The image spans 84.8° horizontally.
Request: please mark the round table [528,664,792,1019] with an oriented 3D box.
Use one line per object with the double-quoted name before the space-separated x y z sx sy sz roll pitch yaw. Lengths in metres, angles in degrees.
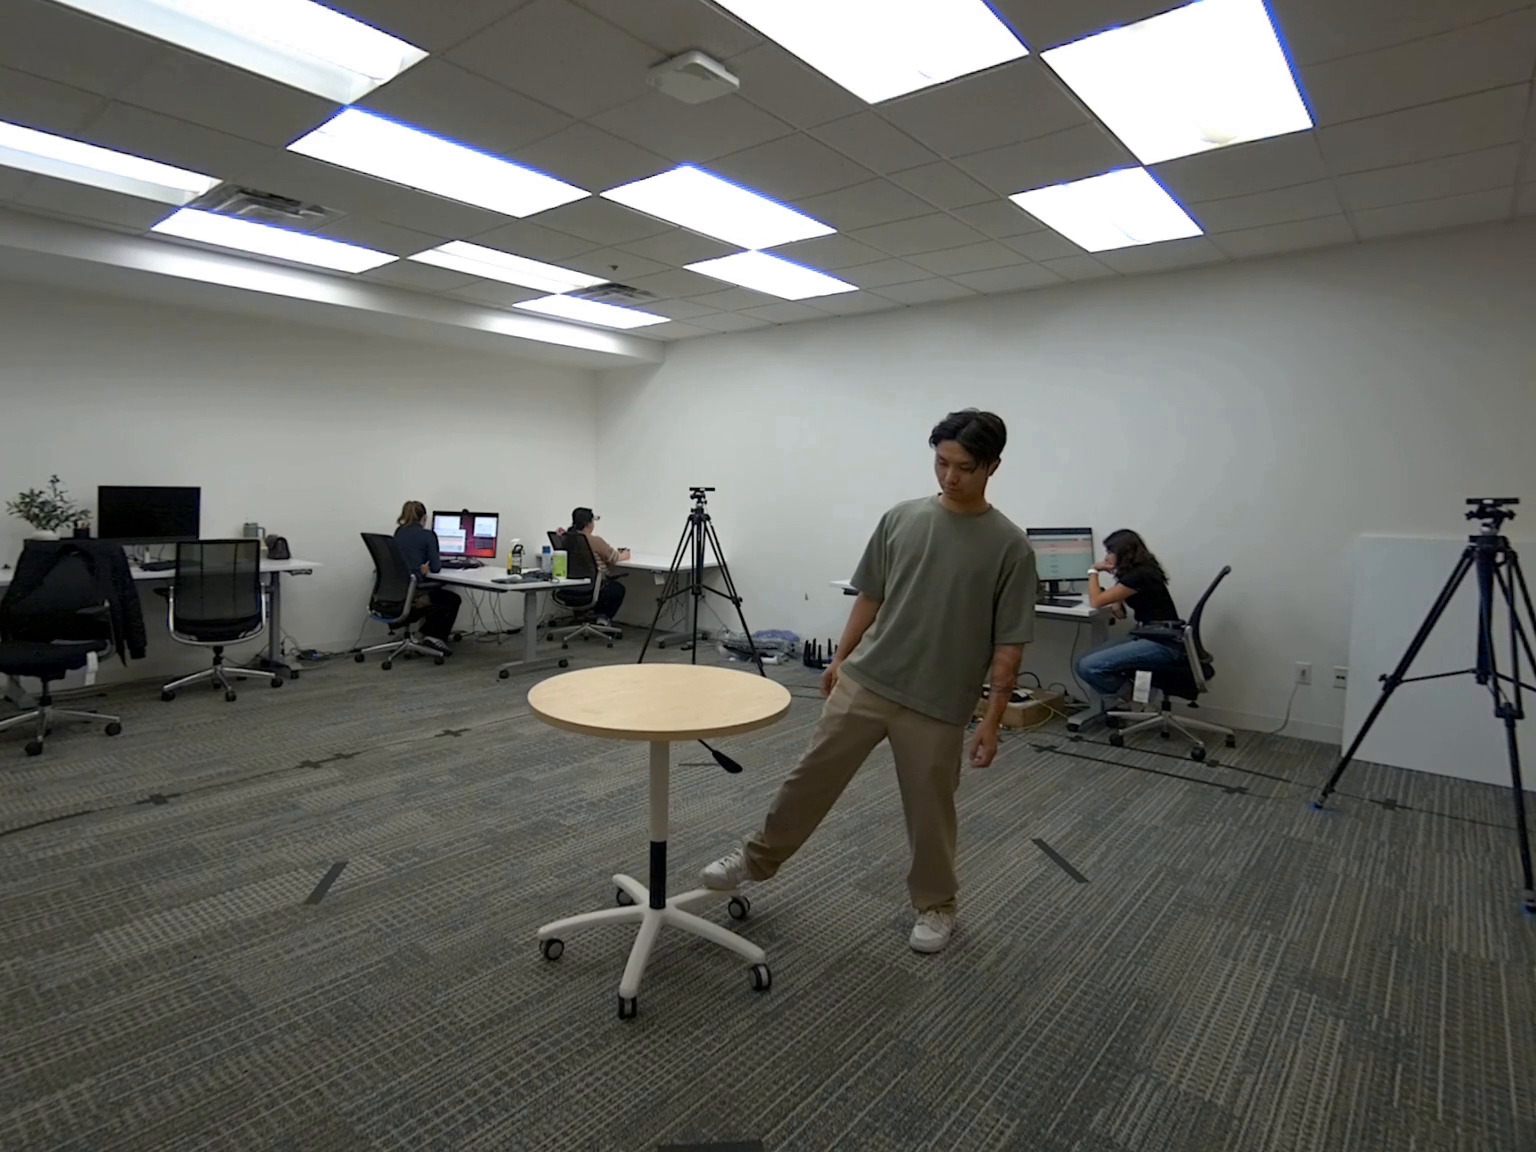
"round table" -0.323 0.732 2.512 0.784 0.783 0.789 1 5 -2
